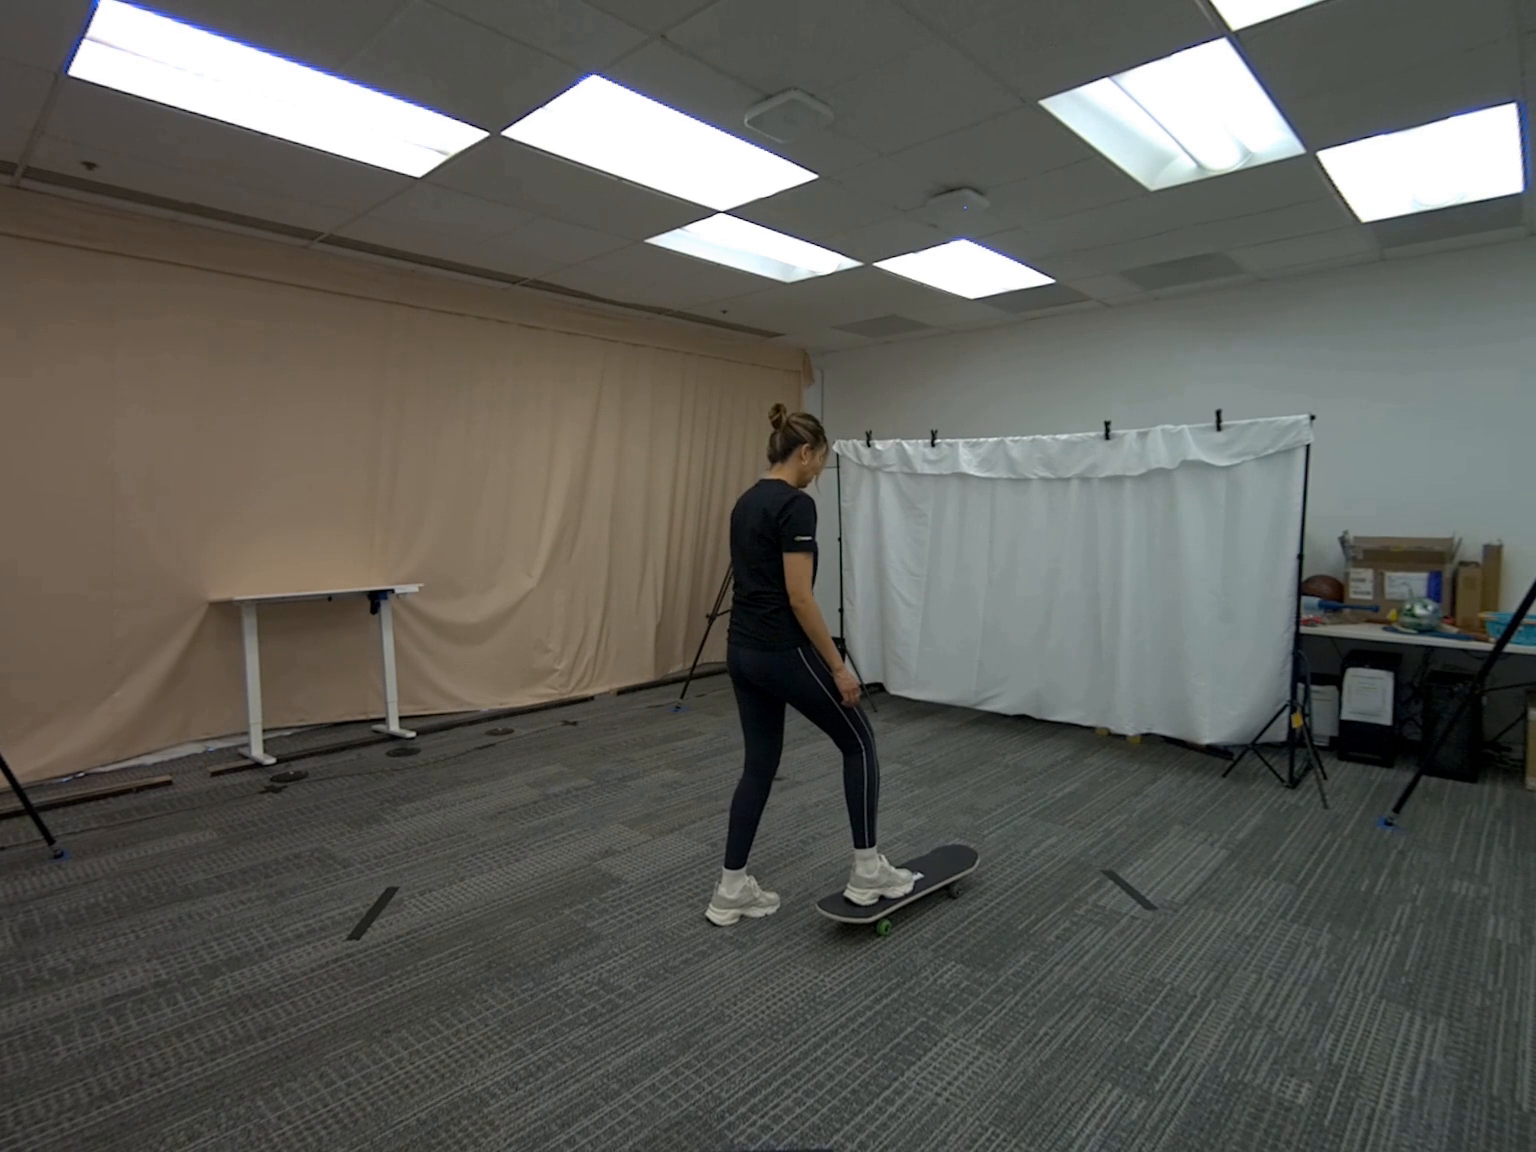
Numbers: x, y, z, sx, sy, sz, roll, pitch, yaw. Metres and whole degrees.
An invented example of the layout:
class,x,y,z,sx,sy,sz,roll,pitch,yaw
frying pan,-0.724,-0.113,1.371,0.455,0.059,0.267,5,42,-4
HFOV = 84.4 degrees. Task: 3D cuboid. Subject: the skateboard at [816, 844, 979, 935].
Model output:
class,x,y,z,sx,sy,sz,roll,pitch,yaw
skateboard,0.472,1.096,2.914,0.762,0.110,0.200,-4,6,-41
